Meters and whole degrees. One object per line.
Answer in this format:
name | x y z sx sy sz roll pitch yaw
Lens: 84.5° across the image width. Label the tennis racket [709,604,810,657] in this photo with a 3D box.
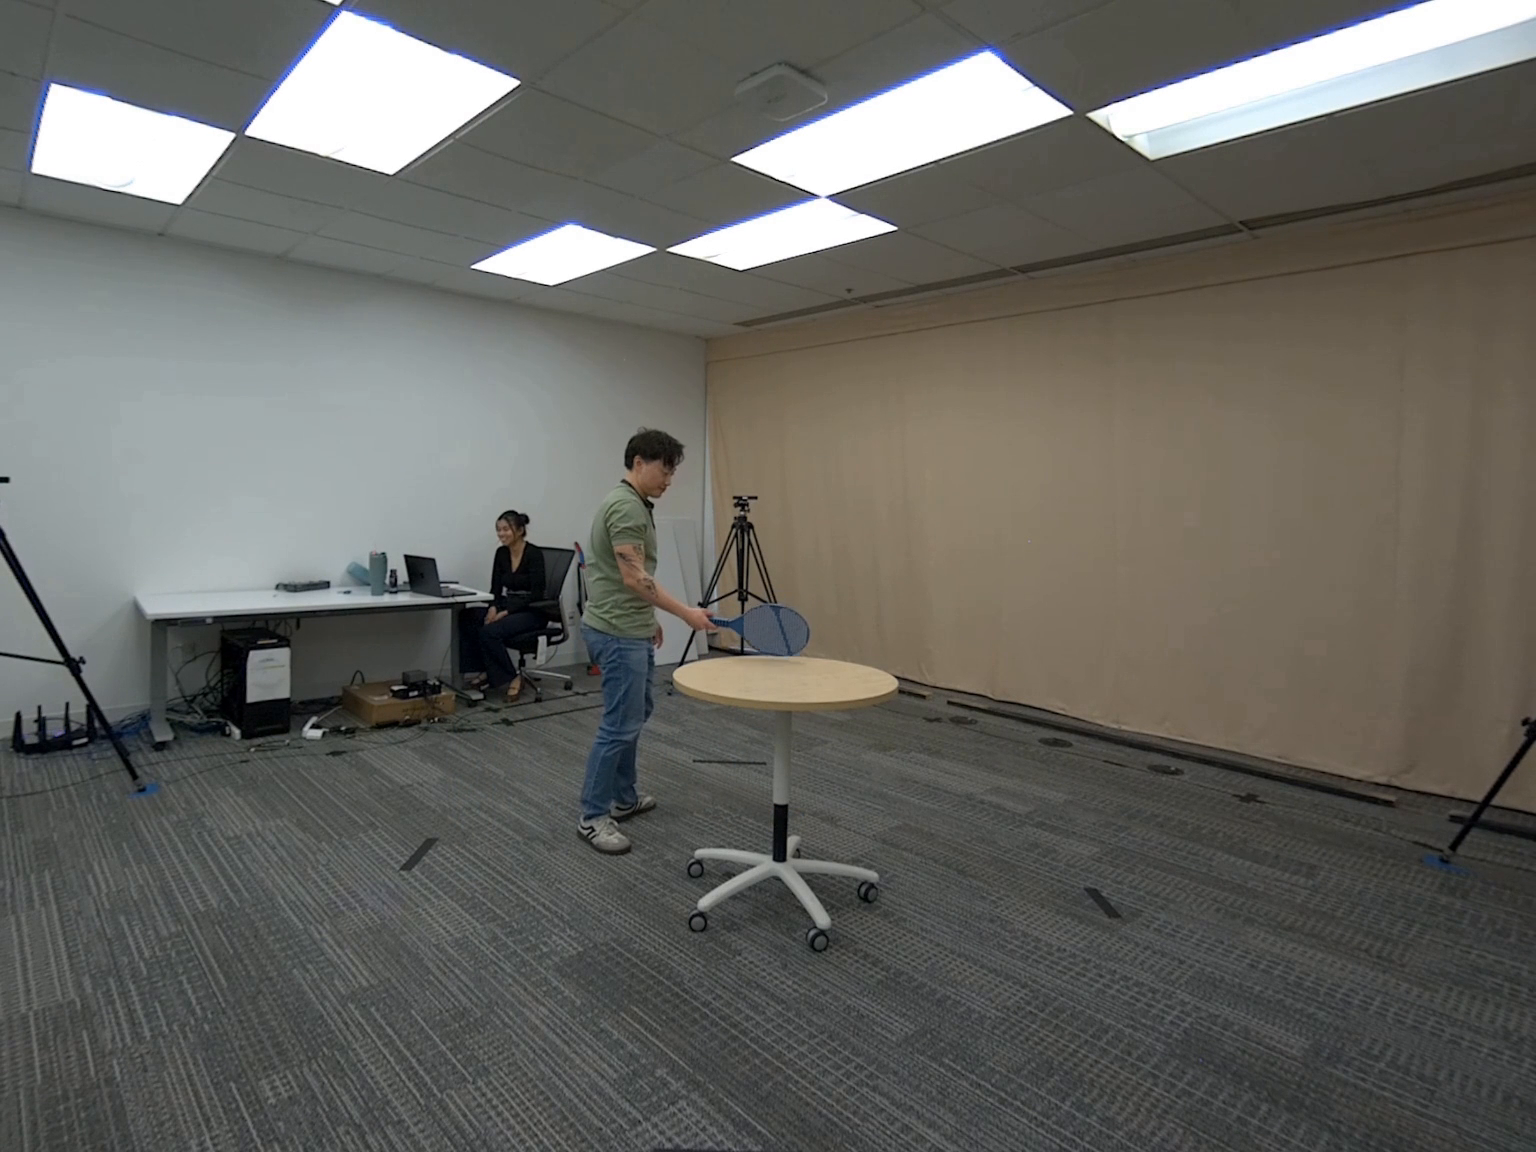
tennis racket | -0.067 0.194 3.156 0.439 0.211 0.032 9 19 16
